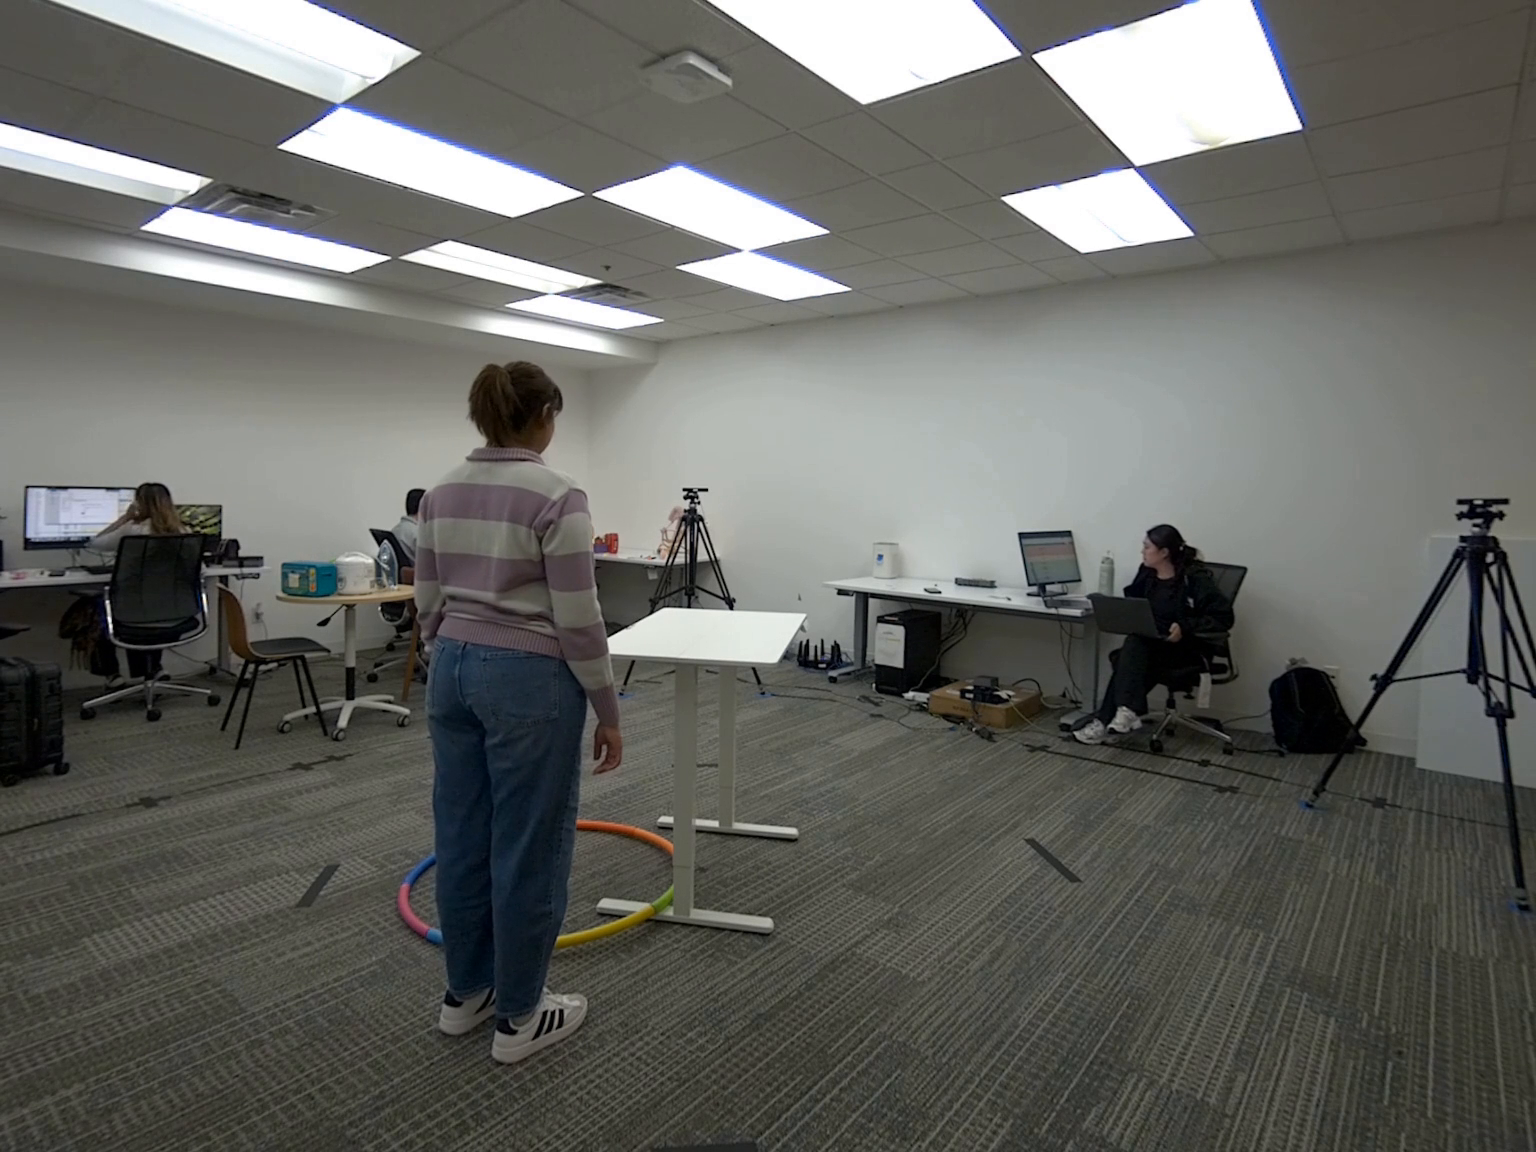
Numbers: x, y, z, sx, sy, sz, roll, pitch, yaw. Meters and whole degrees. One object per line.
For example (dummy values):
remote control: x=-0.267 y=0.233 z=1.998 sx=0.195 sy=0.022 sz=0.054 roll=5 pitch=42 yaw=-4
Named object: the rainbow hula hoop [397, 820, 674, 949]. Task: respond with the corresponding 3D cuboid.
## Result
rainbow hula hoop: x=-0.789 y=1.042 z=2.977 sx=0.978 sy=0.035 sz=0.983 roll=-1 pitch=5 yaw=-2
